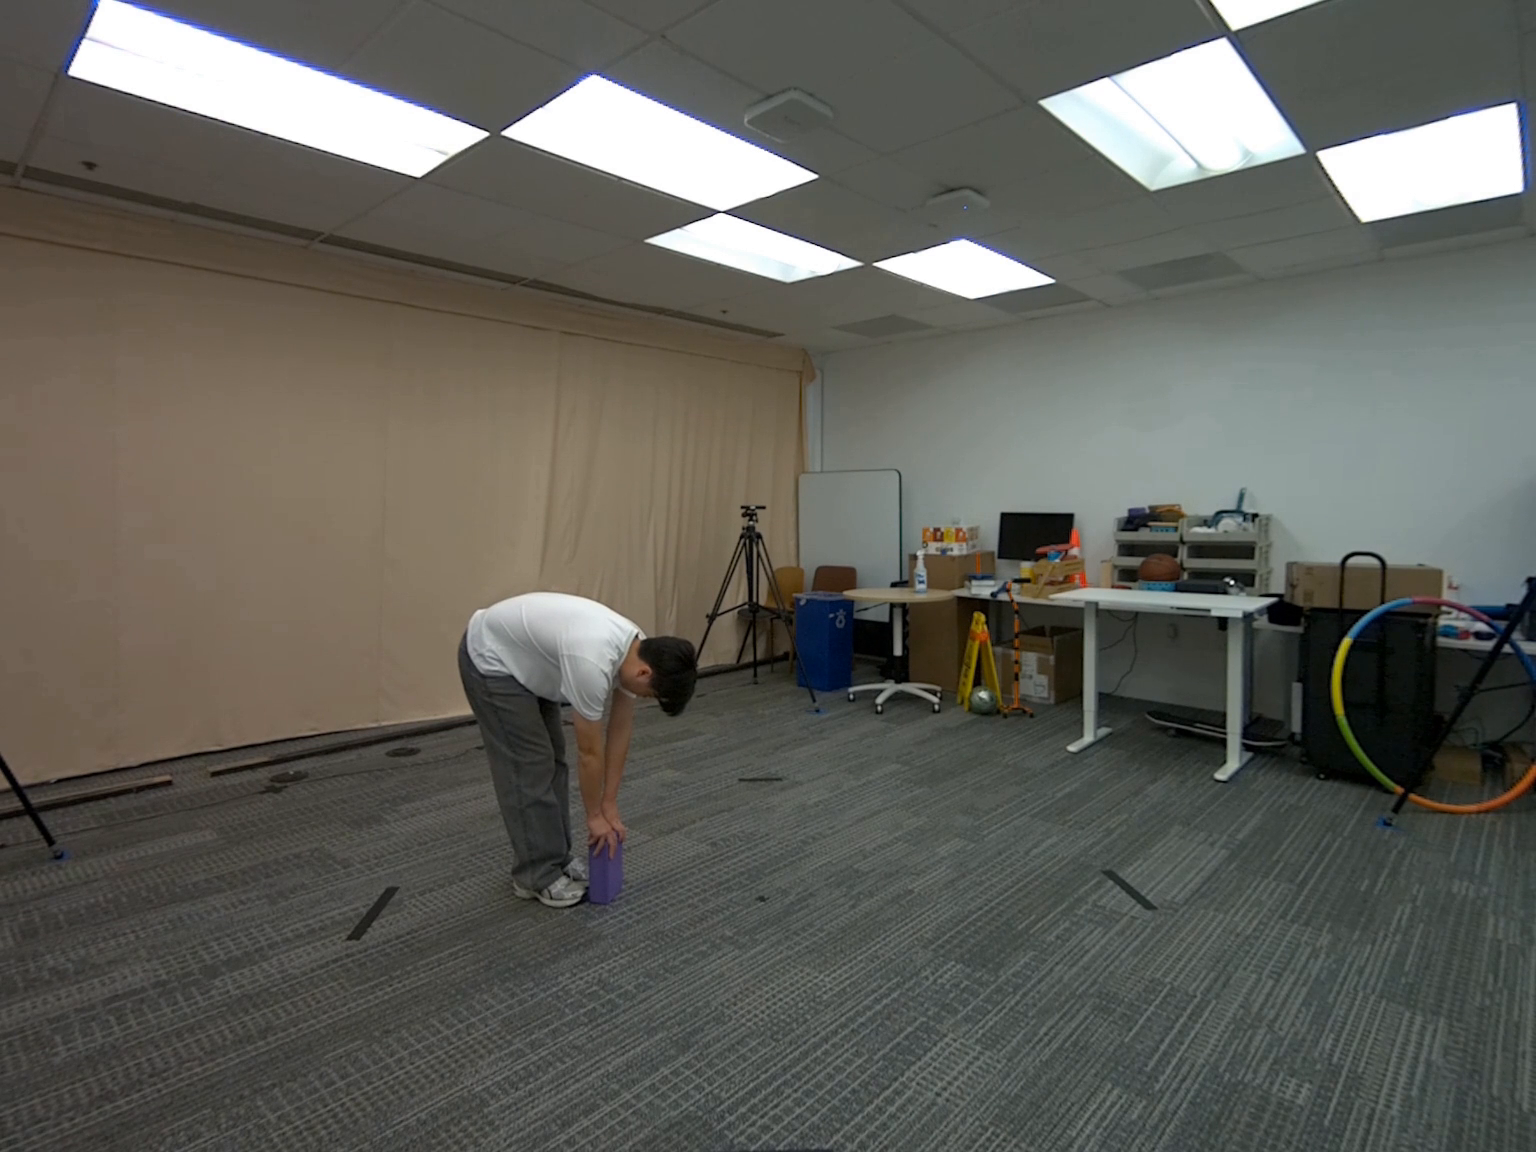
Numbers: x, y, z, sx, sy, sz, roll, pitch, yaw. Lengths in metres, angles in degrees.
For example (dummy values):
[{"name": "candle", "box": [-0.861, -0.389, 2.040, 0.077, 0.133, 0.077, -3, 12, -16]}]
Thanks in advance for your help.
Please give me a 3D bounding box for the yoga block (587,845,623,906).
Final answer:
[{"name": "yoga block", "box": [-0.572, 1.045, 2.999, 0.077, 0.229, 0.148, 0, 4, 5]}]
